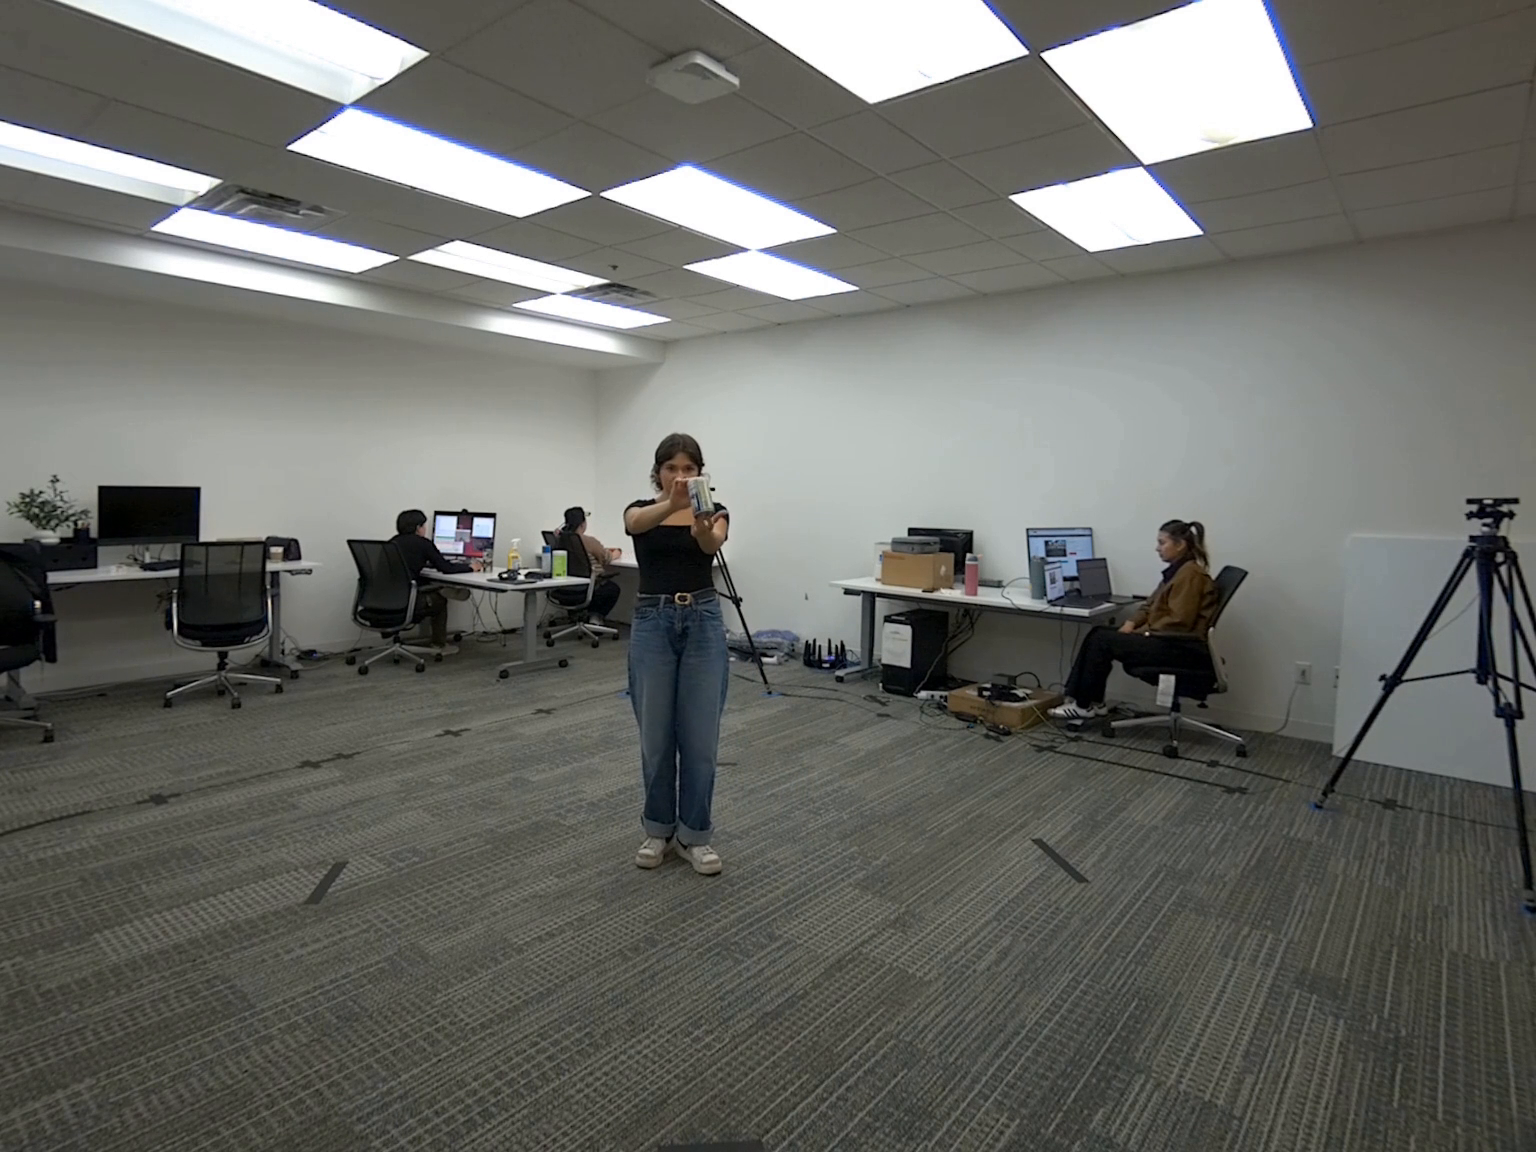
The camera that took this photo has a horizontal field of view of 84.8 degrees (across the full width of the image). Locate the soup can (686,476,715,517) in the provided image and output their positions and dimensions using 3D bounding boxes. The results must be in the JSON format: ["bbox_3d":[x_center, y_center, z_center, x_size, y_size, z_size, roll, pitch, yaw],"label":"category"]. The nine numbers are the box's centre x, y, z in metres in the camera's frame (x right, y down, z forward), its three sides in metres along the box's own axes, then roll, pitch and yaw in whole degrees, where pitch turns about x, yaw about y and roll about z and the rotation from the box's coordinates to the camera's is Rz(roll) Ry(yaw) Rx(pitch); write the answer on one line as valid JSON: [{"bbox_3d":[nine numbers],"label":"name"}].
[{"bbox_3d":[-0.223,-0.244,2.611,0.067,0.124,0.066,-1,-21,-2],"label":"soup can"}]
